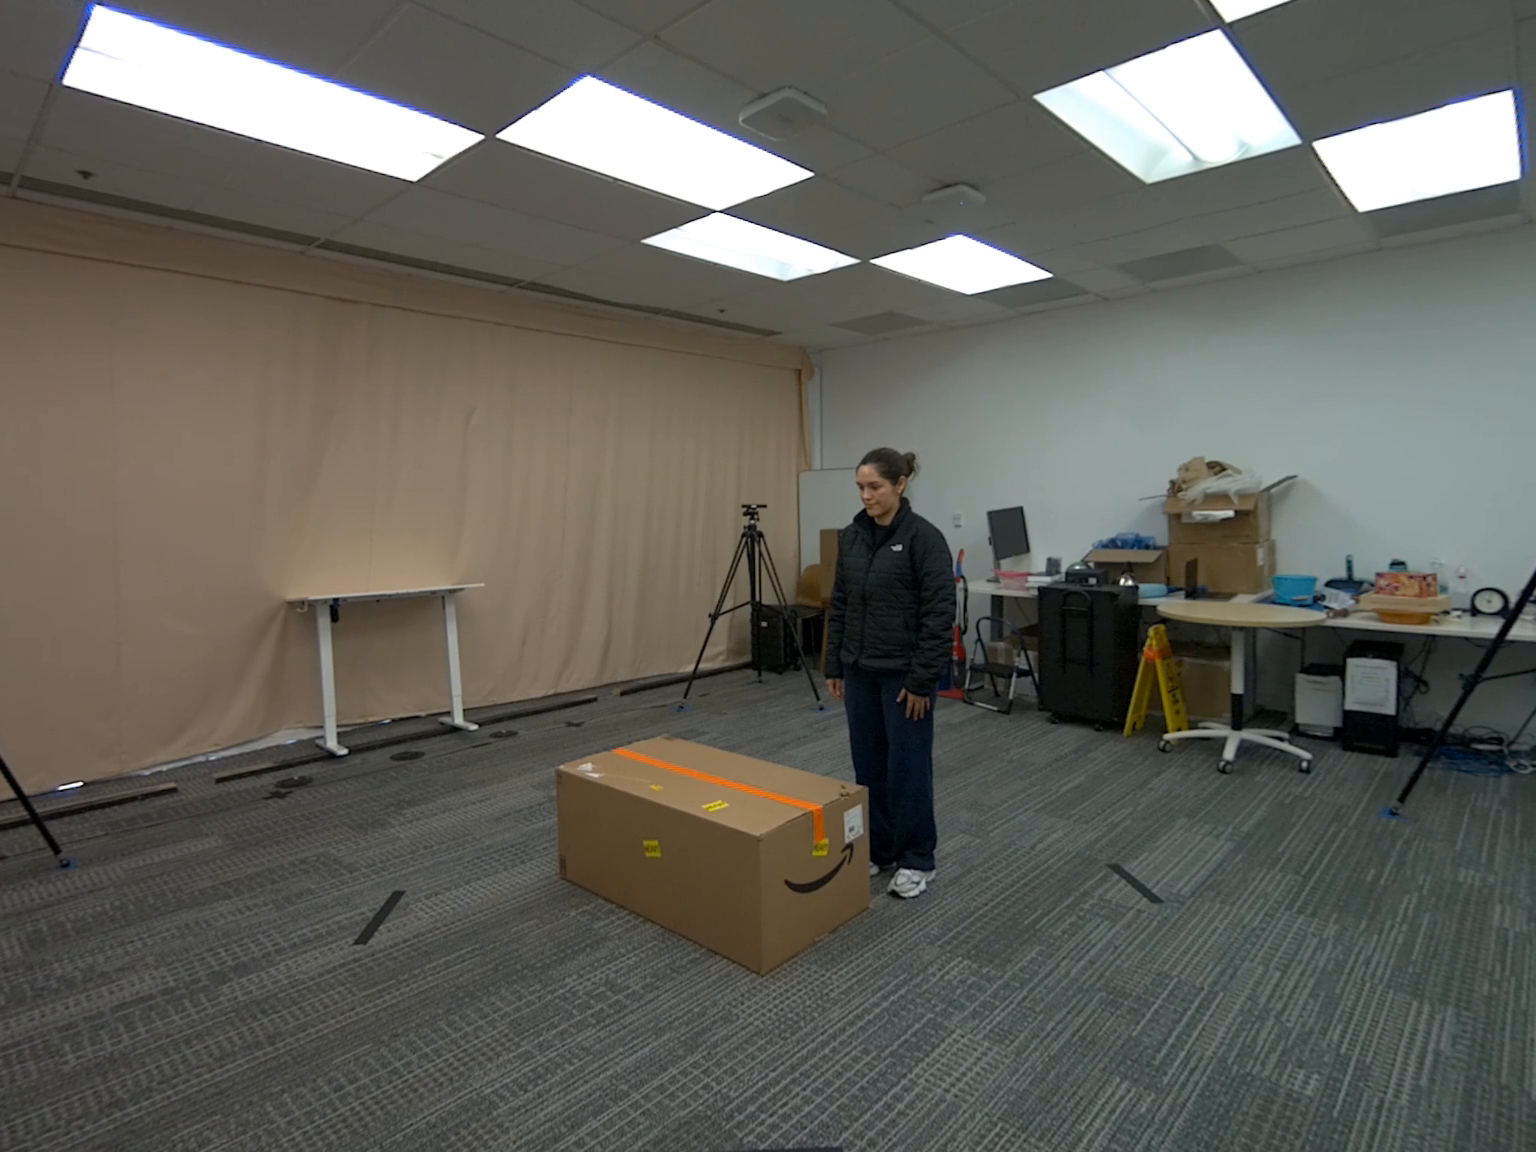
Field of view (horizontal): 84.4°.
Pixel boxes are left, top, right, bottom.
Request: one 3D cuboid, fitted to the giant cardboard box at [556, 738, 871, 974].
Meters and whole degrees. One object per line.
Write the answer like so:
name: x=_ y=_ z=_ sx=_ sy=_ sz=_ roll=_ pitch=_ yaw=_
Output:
giant cardboard box: x=-0.210 y=0.931 z=3.031 sx=1.061 sy=0.446 sz=0.566 roll=2 pitch=4 yaw=42
